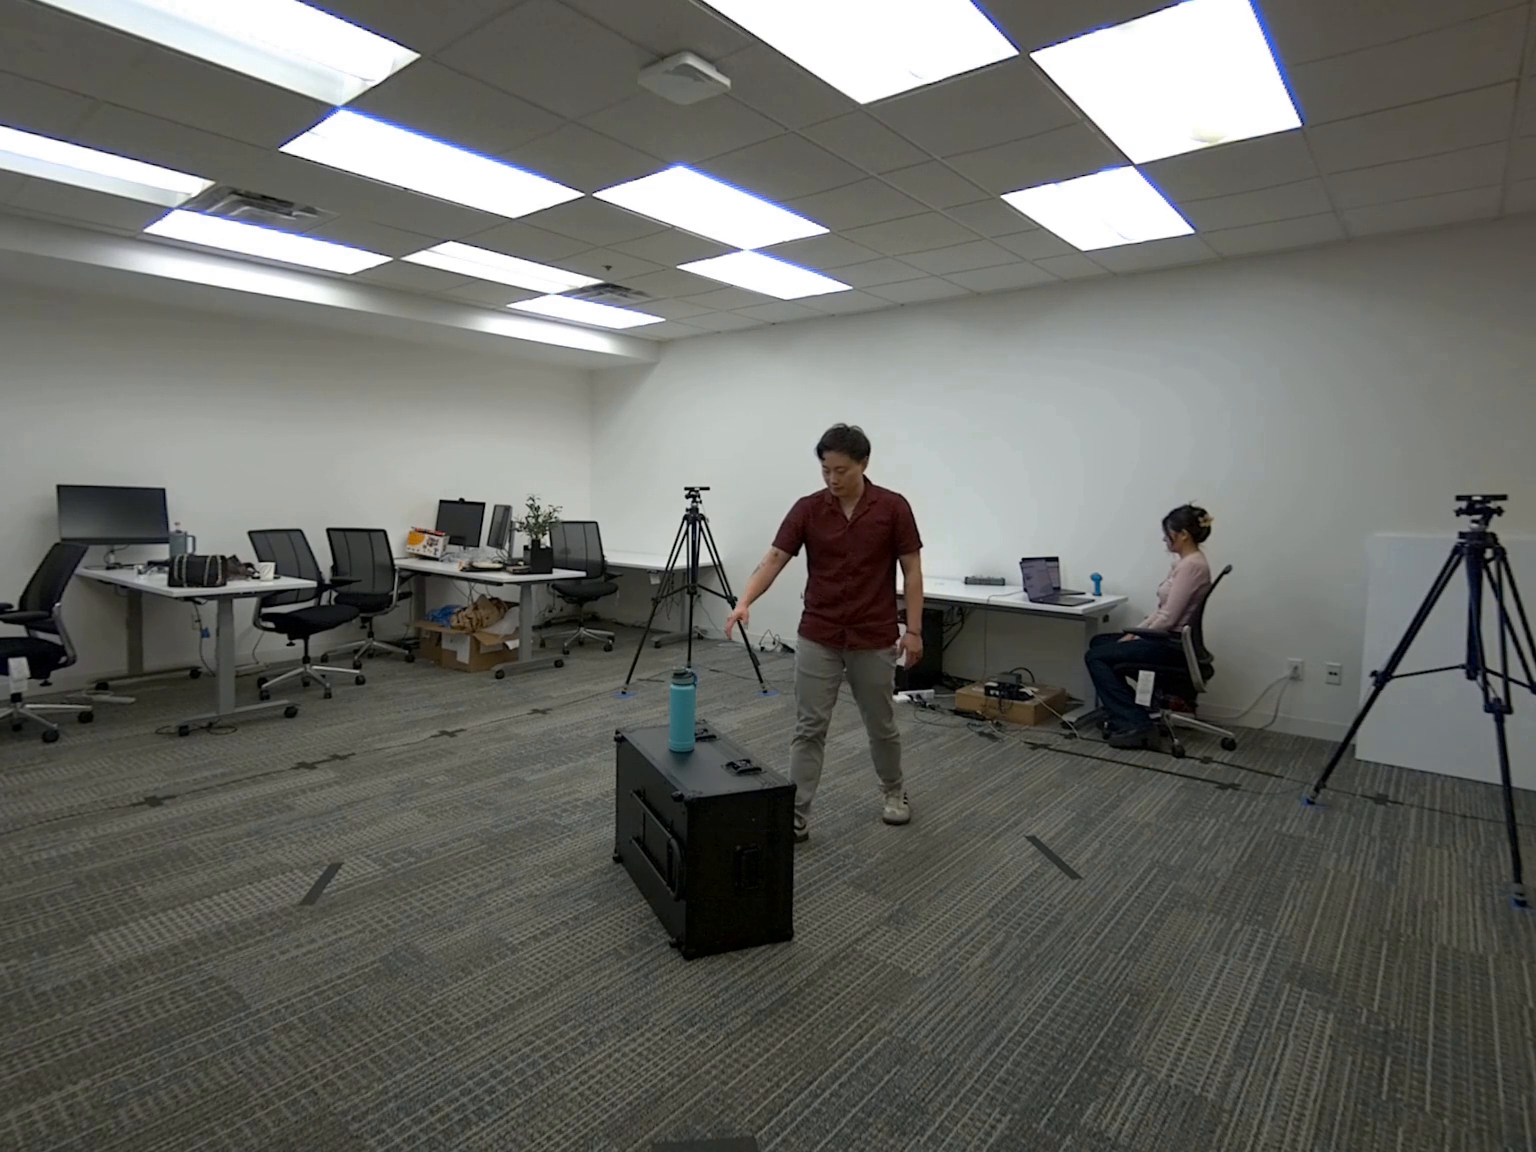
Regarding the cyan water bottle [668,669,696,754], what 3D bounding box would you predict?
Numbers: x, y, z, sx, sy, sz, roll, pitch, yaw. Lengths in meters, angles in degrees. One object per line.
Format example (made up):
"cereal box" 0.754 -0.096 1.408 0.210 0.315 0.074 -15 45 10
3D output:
"cyan water bottle" -0.308 0.454 2.955 0.092 0.283 0.092 1 2 -2
